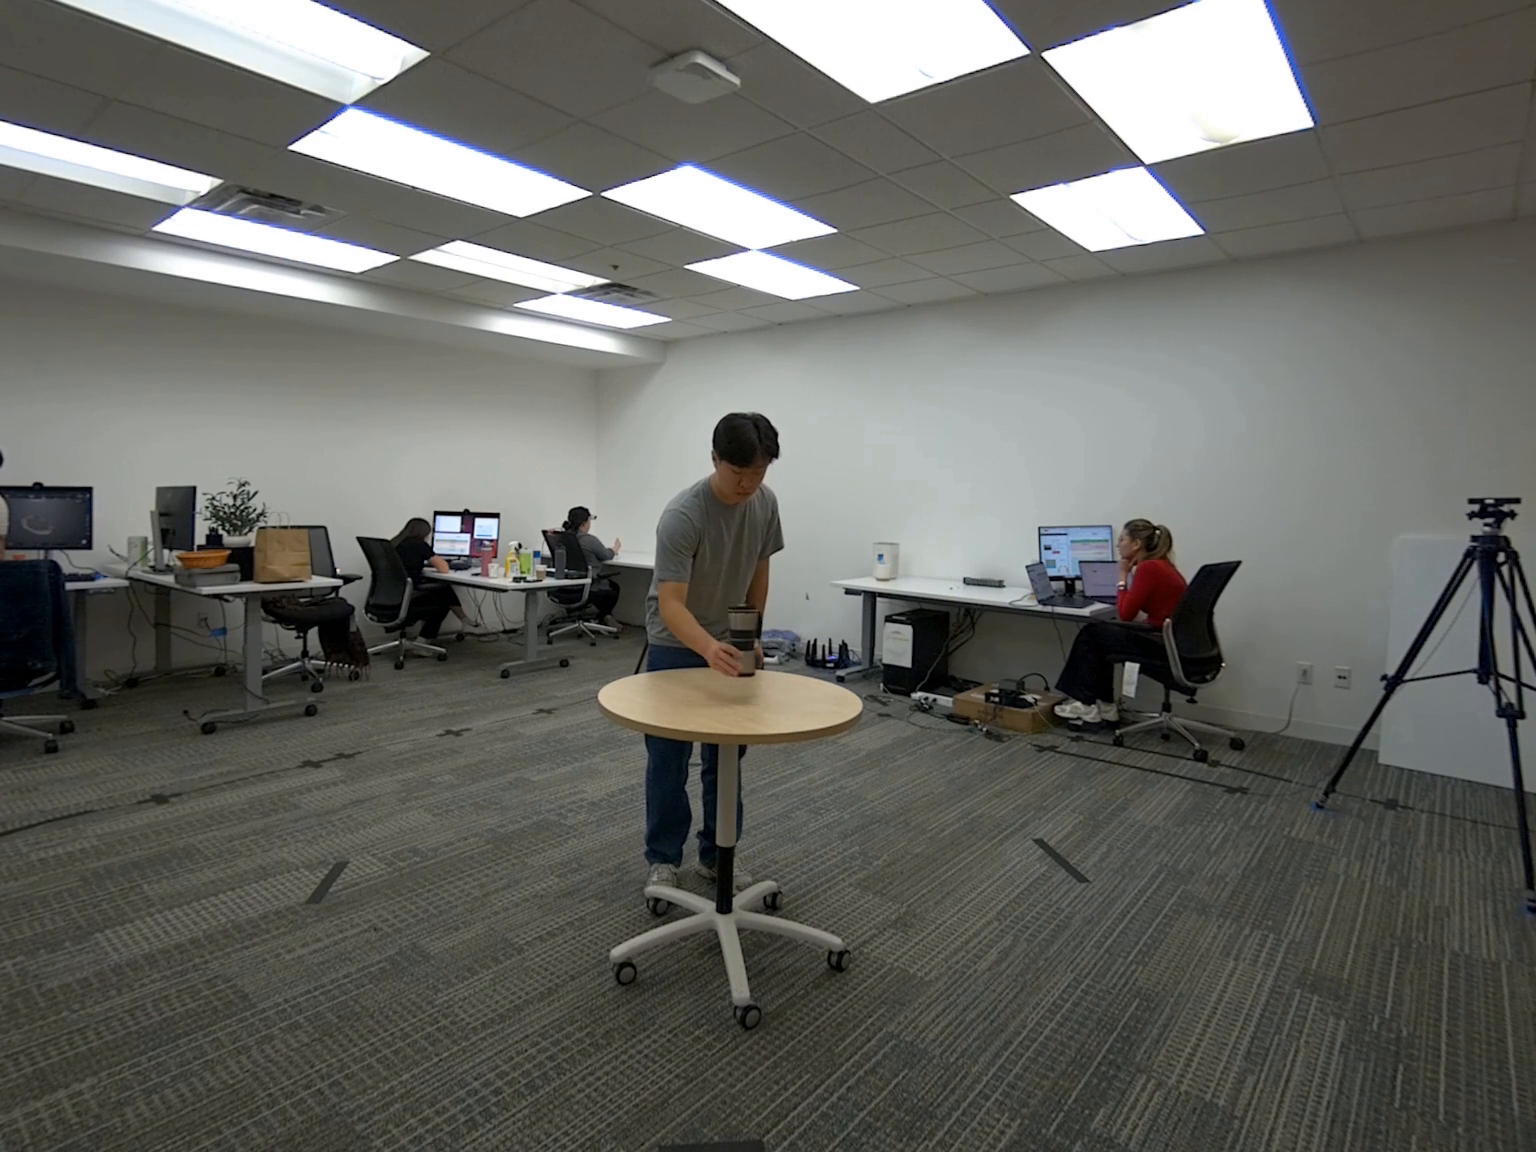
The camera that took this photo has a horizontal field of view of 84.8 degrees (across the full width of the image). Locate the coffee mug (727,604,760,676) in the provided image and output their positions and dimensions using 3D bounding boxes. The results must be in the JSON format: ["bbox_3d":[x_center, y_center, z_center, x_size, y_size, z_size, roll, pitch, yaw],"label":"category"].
[{"bbox_3d":[-0.065,0.194,2.431,0.118,0.203,0.090,-3,-3,-36],"label":"coffee mug"}]
